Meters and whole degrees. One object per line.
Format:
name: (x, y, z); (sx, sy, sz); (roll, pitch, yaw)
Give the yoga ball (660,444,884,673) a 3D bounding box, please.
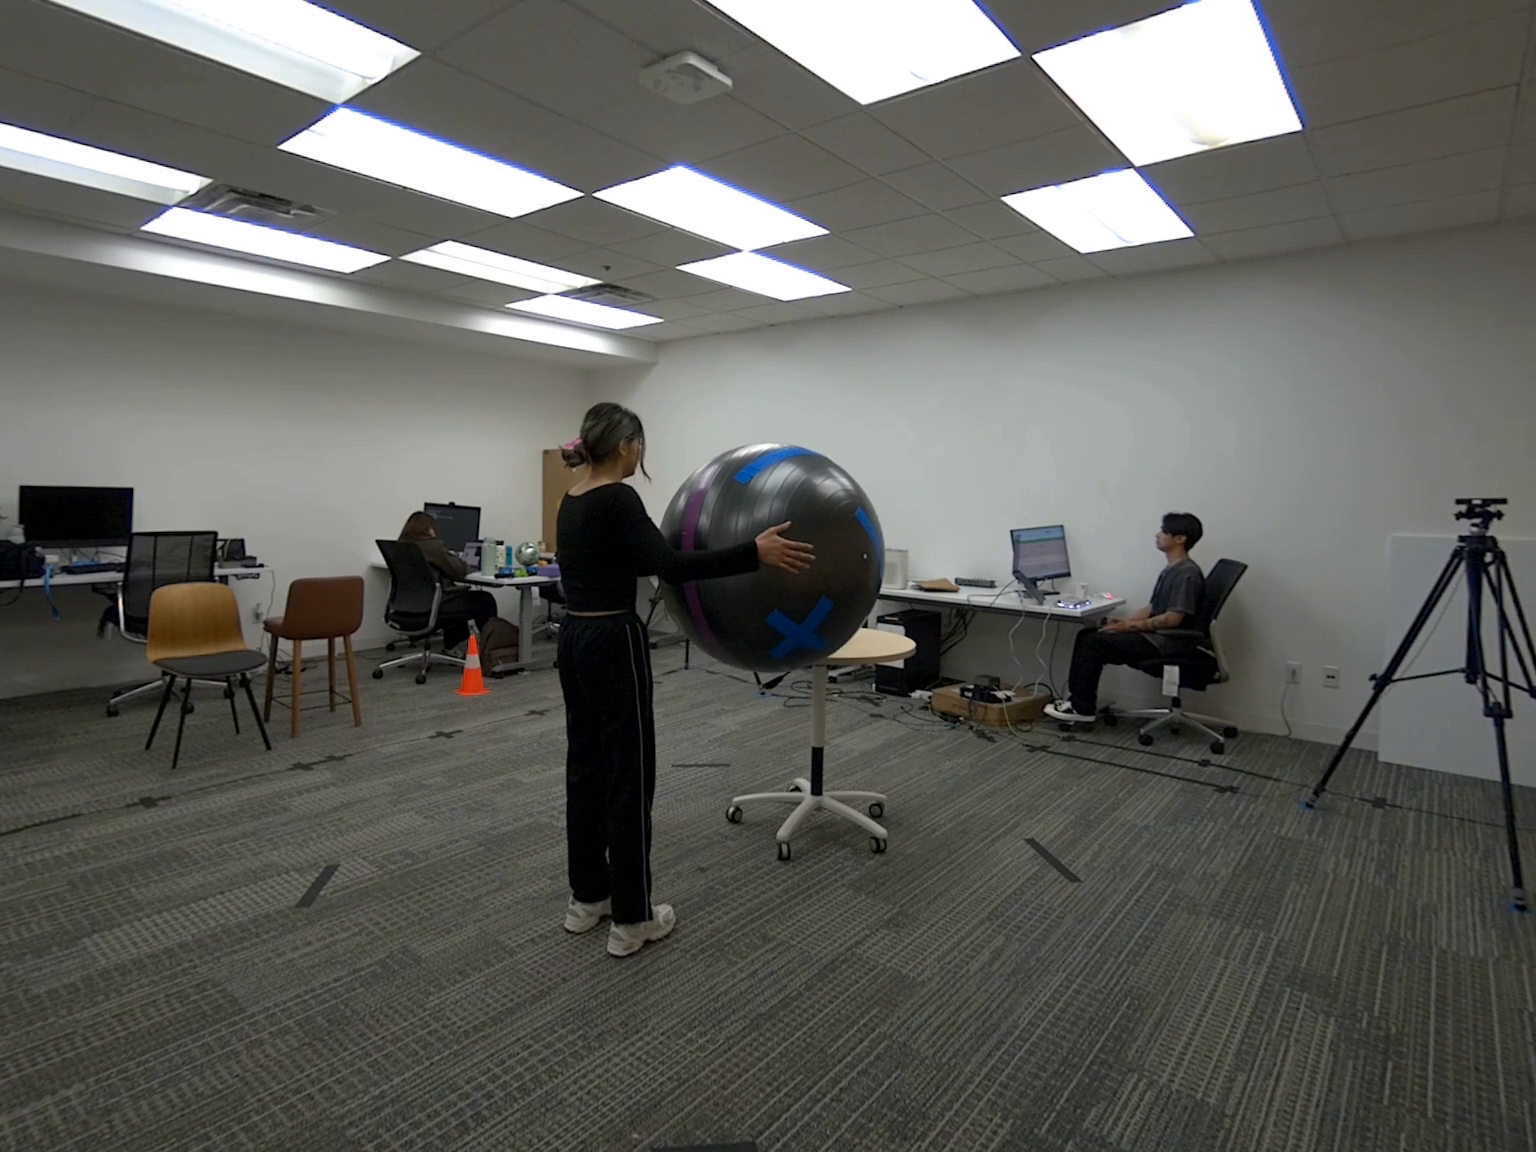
yoga ball: (0.005, -0.057, 2.833); (0.757, 0.756, 0.762); (1, 4, -2)
